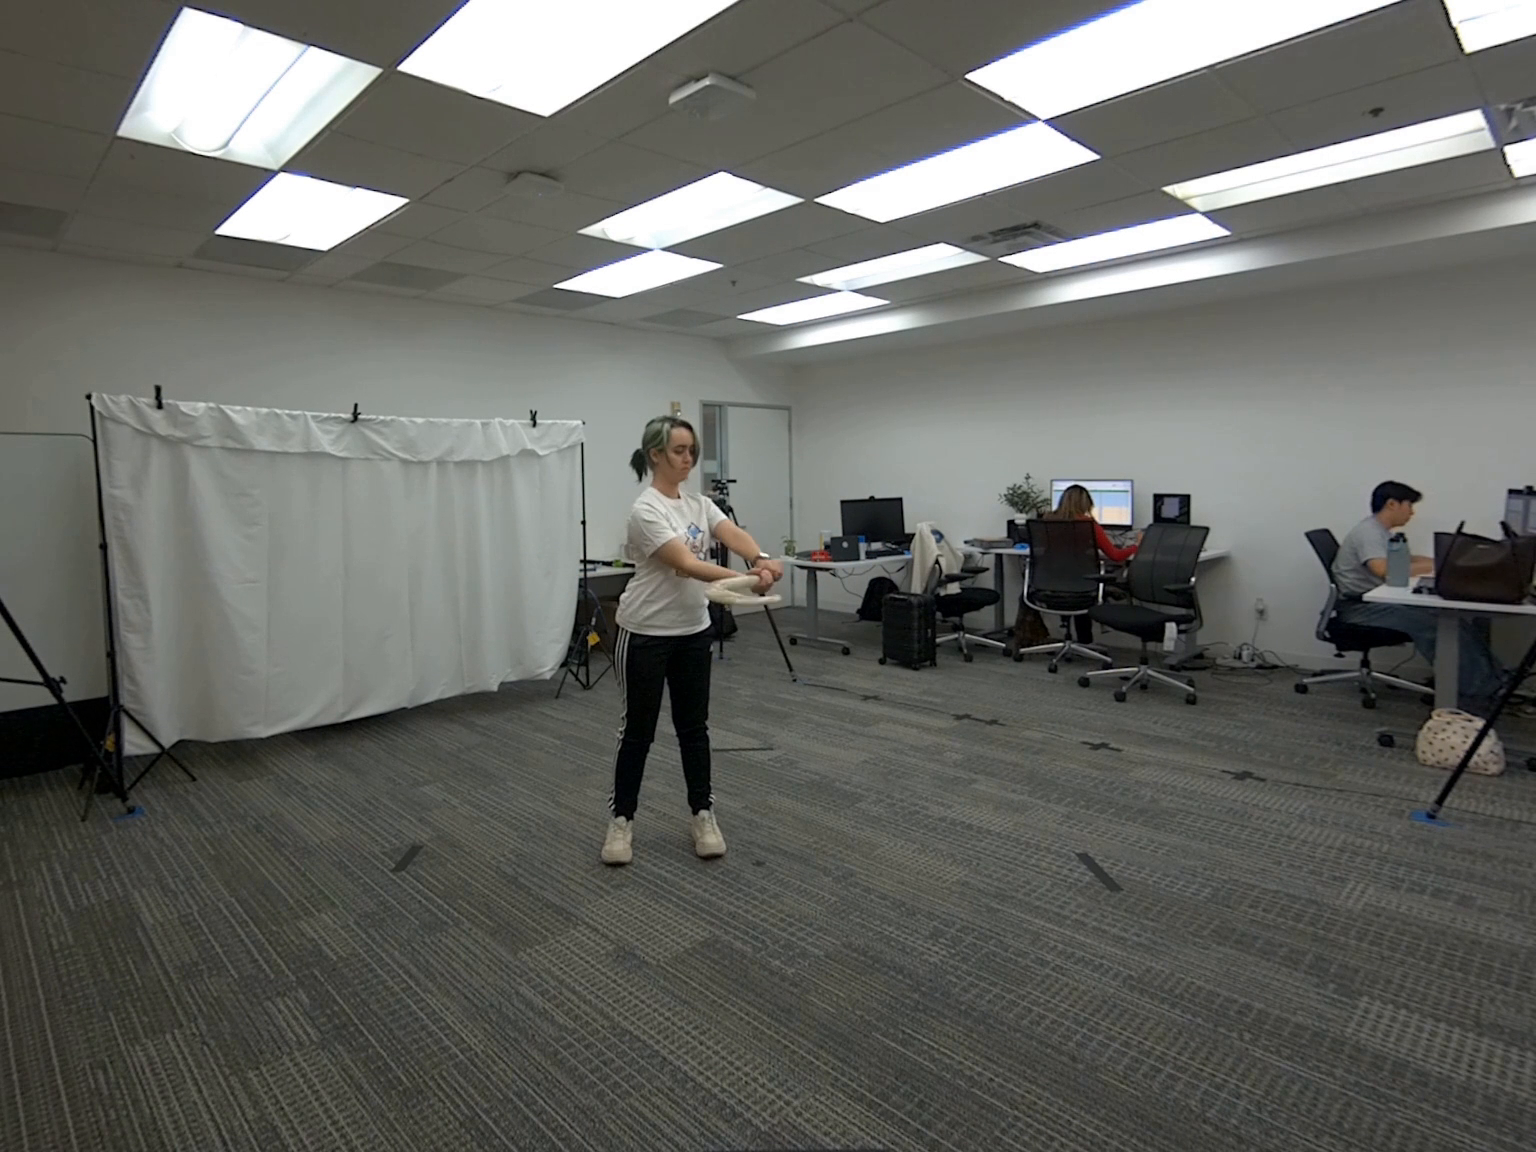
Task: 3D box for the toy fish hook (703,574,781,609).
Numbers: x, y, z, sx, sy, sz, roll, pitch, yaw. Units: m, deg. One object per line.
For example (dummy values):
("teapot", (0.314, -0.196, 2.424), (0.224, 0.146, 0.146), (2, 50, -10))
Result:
("toy fish hook", (-0.011, 0.034, 2.713), (0.230, 0.048, 0.499), (12, 14, 21))
